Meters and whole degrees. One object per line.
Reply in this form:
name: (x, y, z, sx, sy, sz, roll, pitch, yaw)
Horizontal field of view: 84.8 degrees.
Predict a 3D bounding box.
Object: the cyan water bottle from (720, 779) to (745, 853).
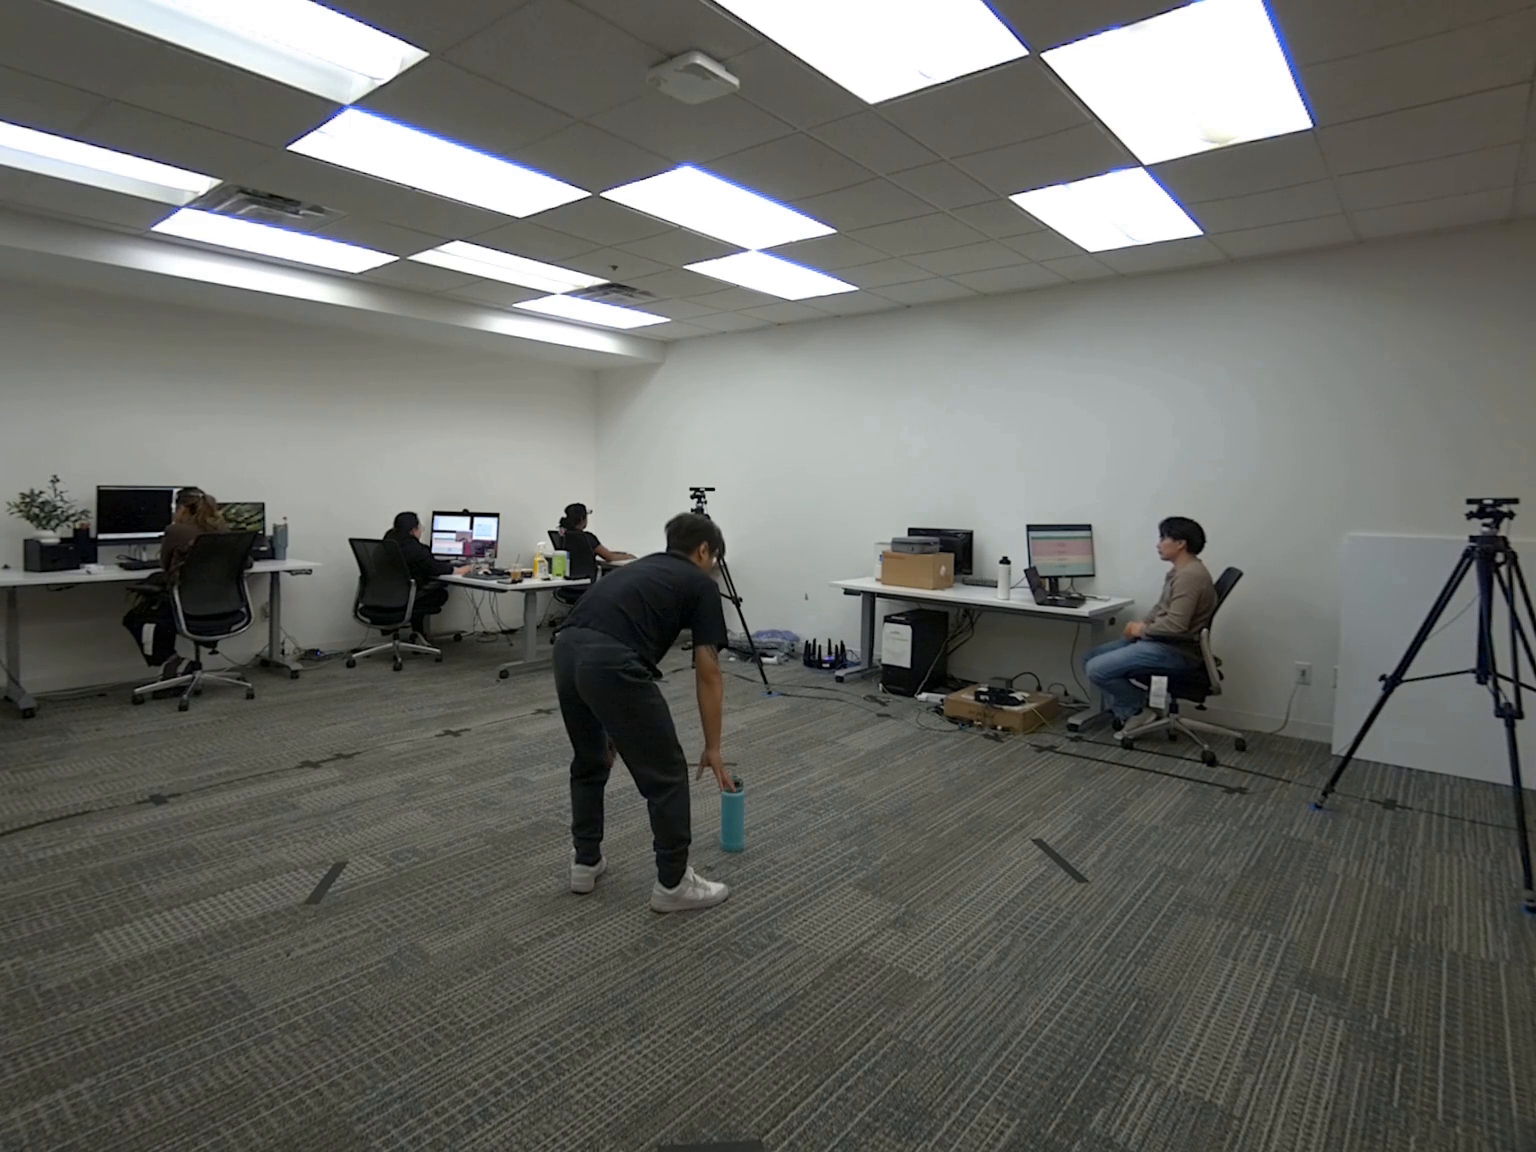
cyan water bottle: (-0.145, 0.910, 3.295, 0.092, 0.283, 0.093, 1, 3, -2)
